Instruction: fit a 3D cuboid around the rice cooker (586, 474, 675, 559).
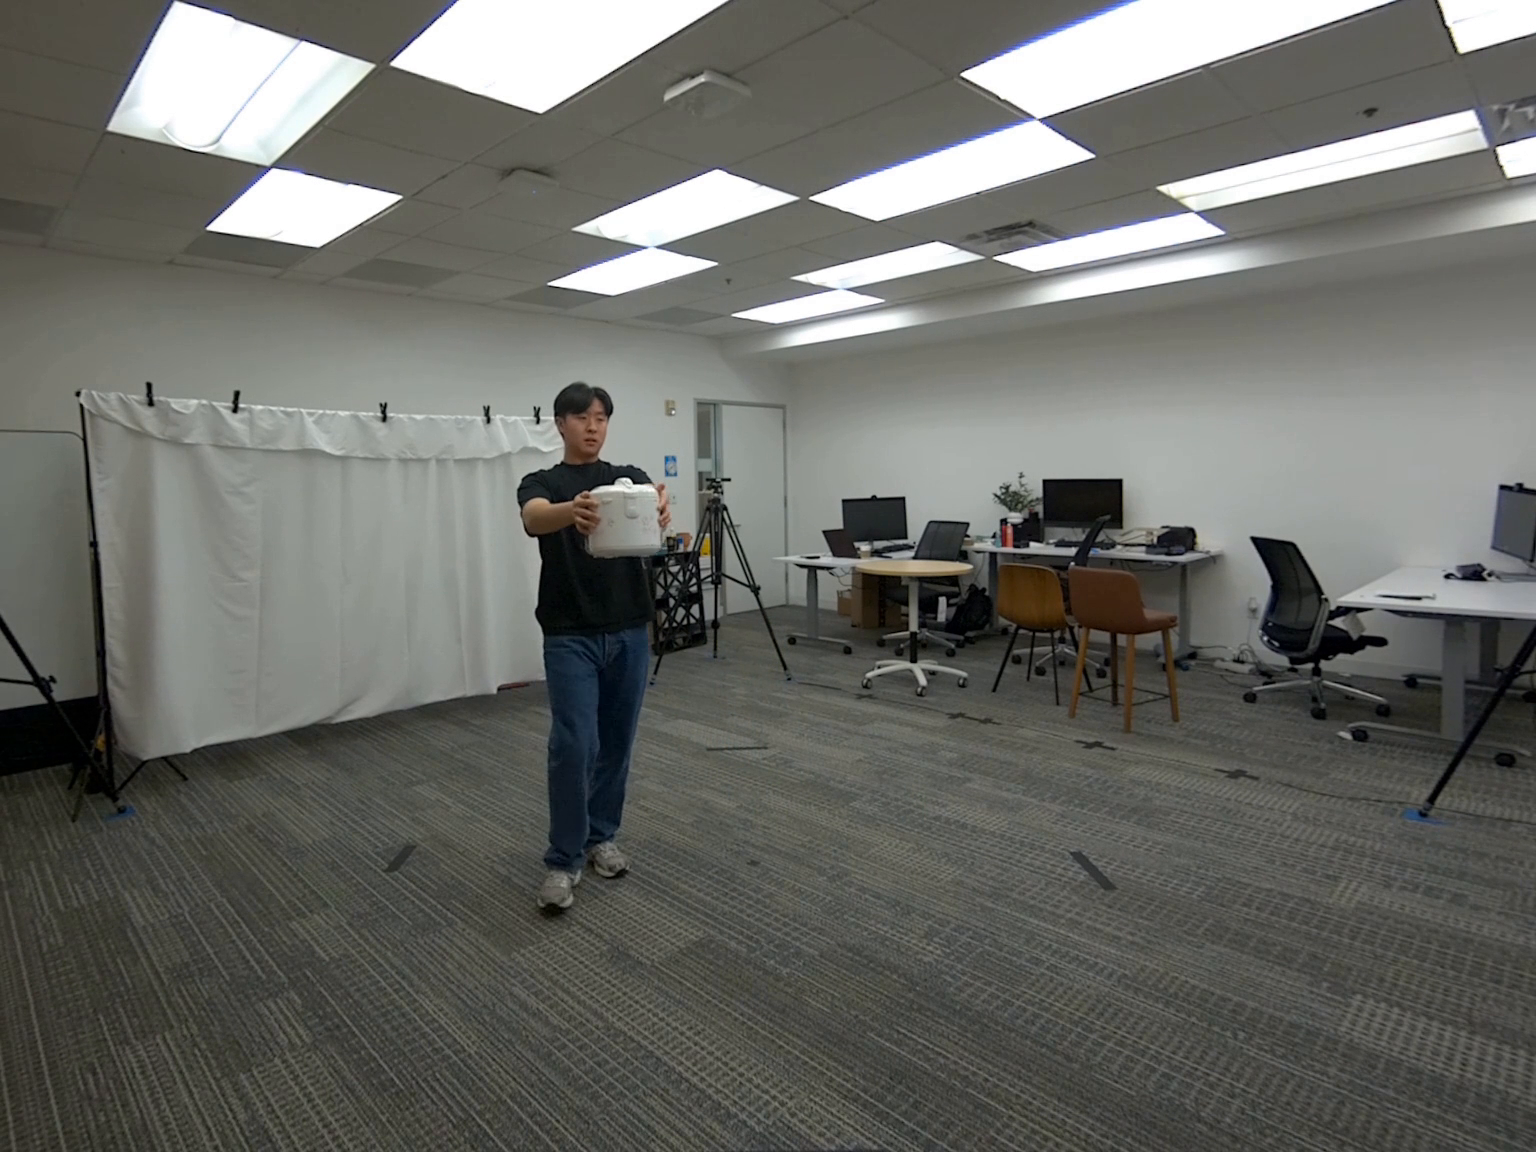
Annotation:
[{"bbox_3d":[-0.416,-0.171,2.516,0.213,0.233,0.224,-2,0,-20],"label":"rice cooker"}]
